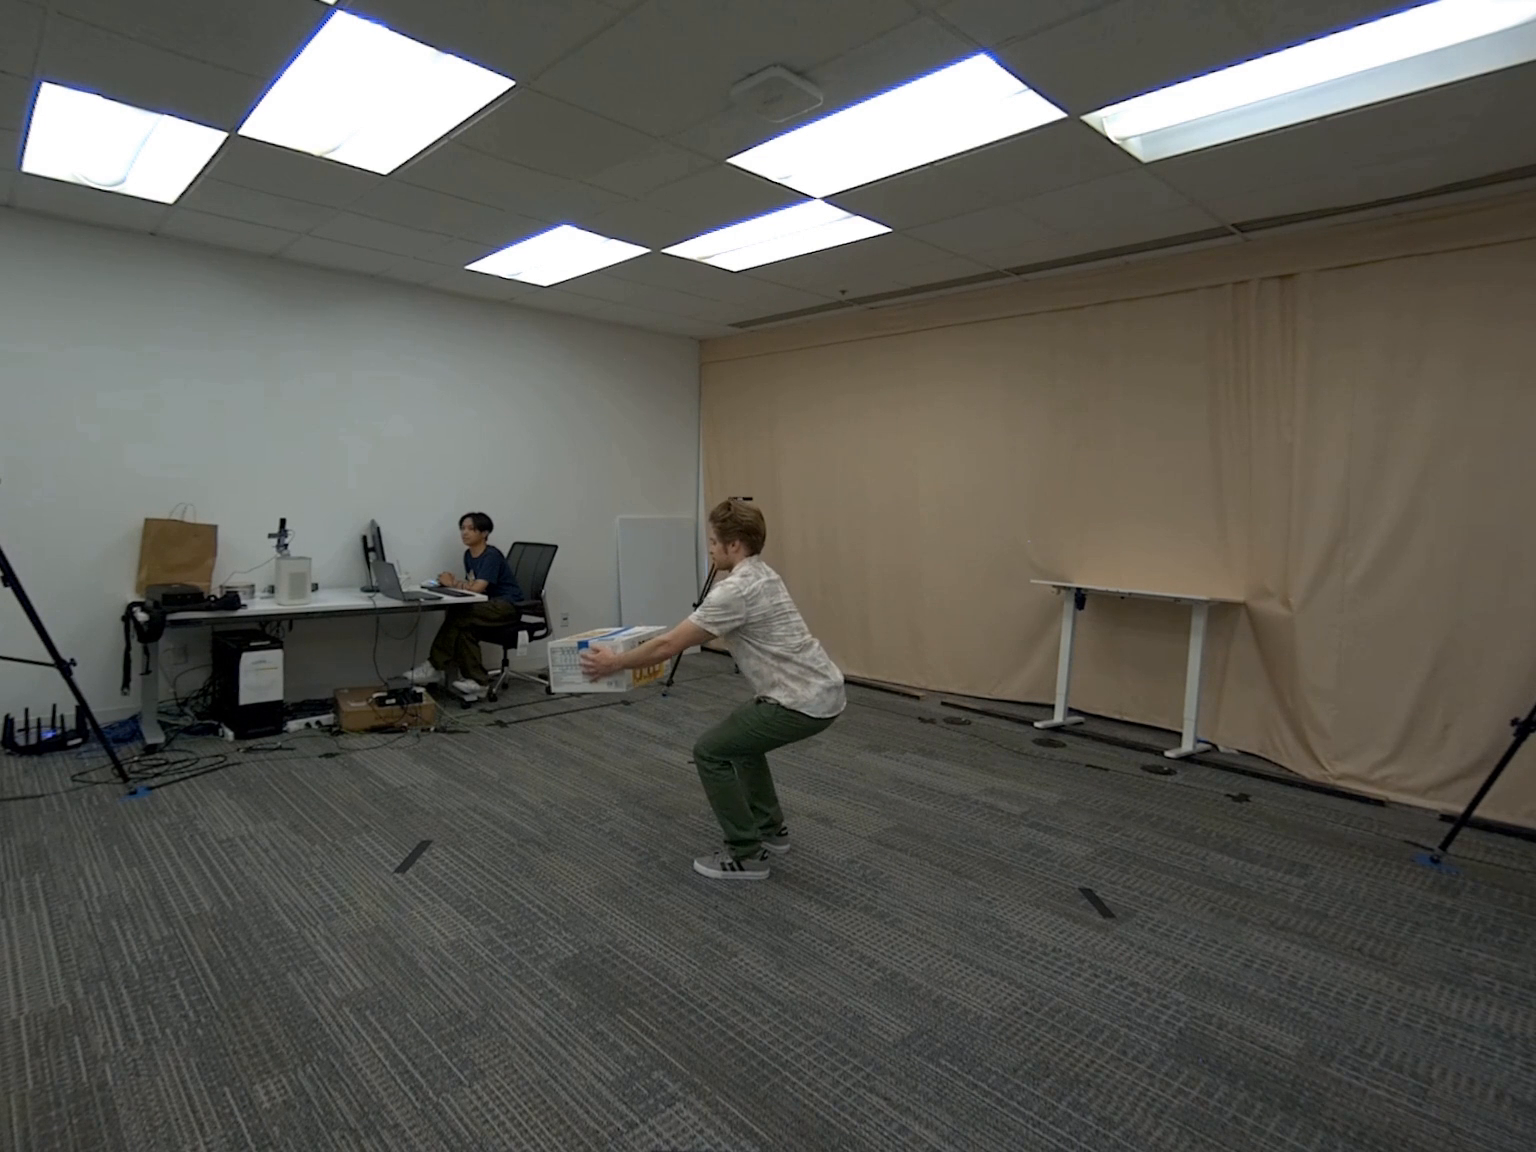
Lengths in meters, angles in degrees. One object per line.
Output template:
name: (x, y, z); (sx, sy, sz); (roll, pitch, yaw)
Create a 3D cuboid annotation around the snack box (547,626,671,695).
snack box: (-0.643, 0.336, 3.461); (0.345, 0.205, 0.400); (-3, 3, 20)
